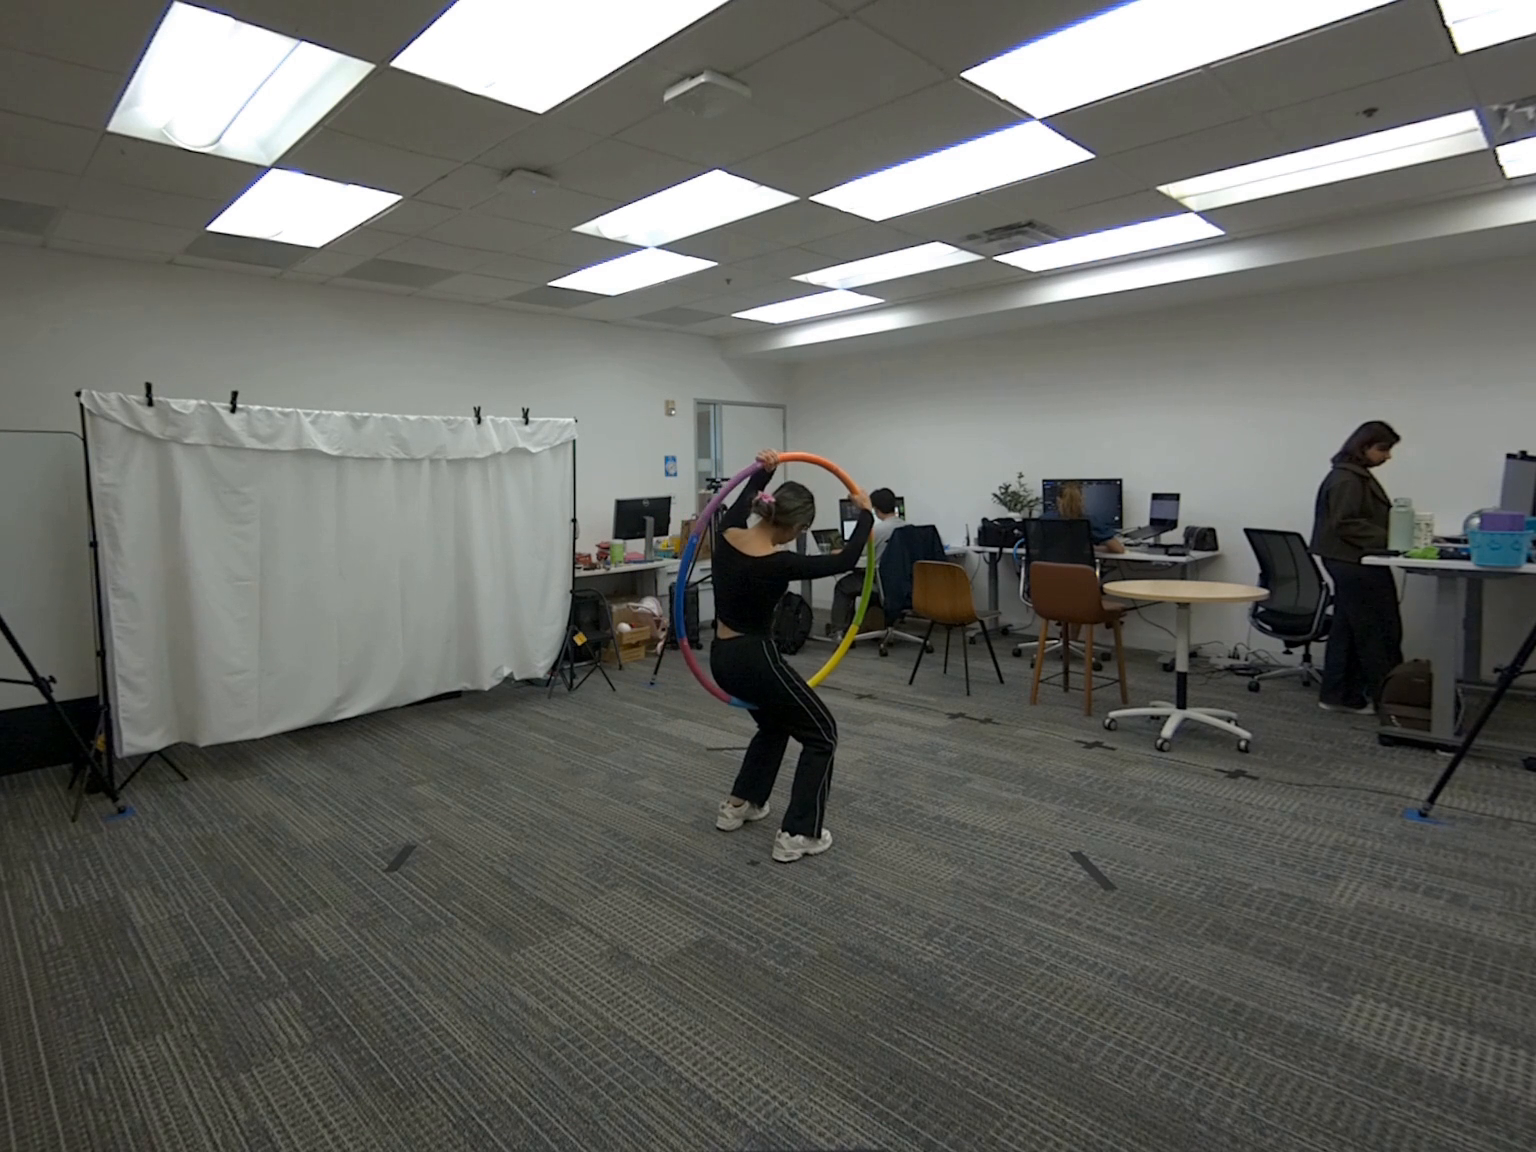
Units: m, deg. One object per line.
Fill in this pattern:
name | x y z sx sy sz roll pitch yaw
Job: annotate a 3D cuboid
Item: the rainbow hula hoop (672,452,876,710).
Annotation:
rainbow hula hoop | 0.061 0.027 3.265 0.953 0.970 0.037 -5 14 -38
